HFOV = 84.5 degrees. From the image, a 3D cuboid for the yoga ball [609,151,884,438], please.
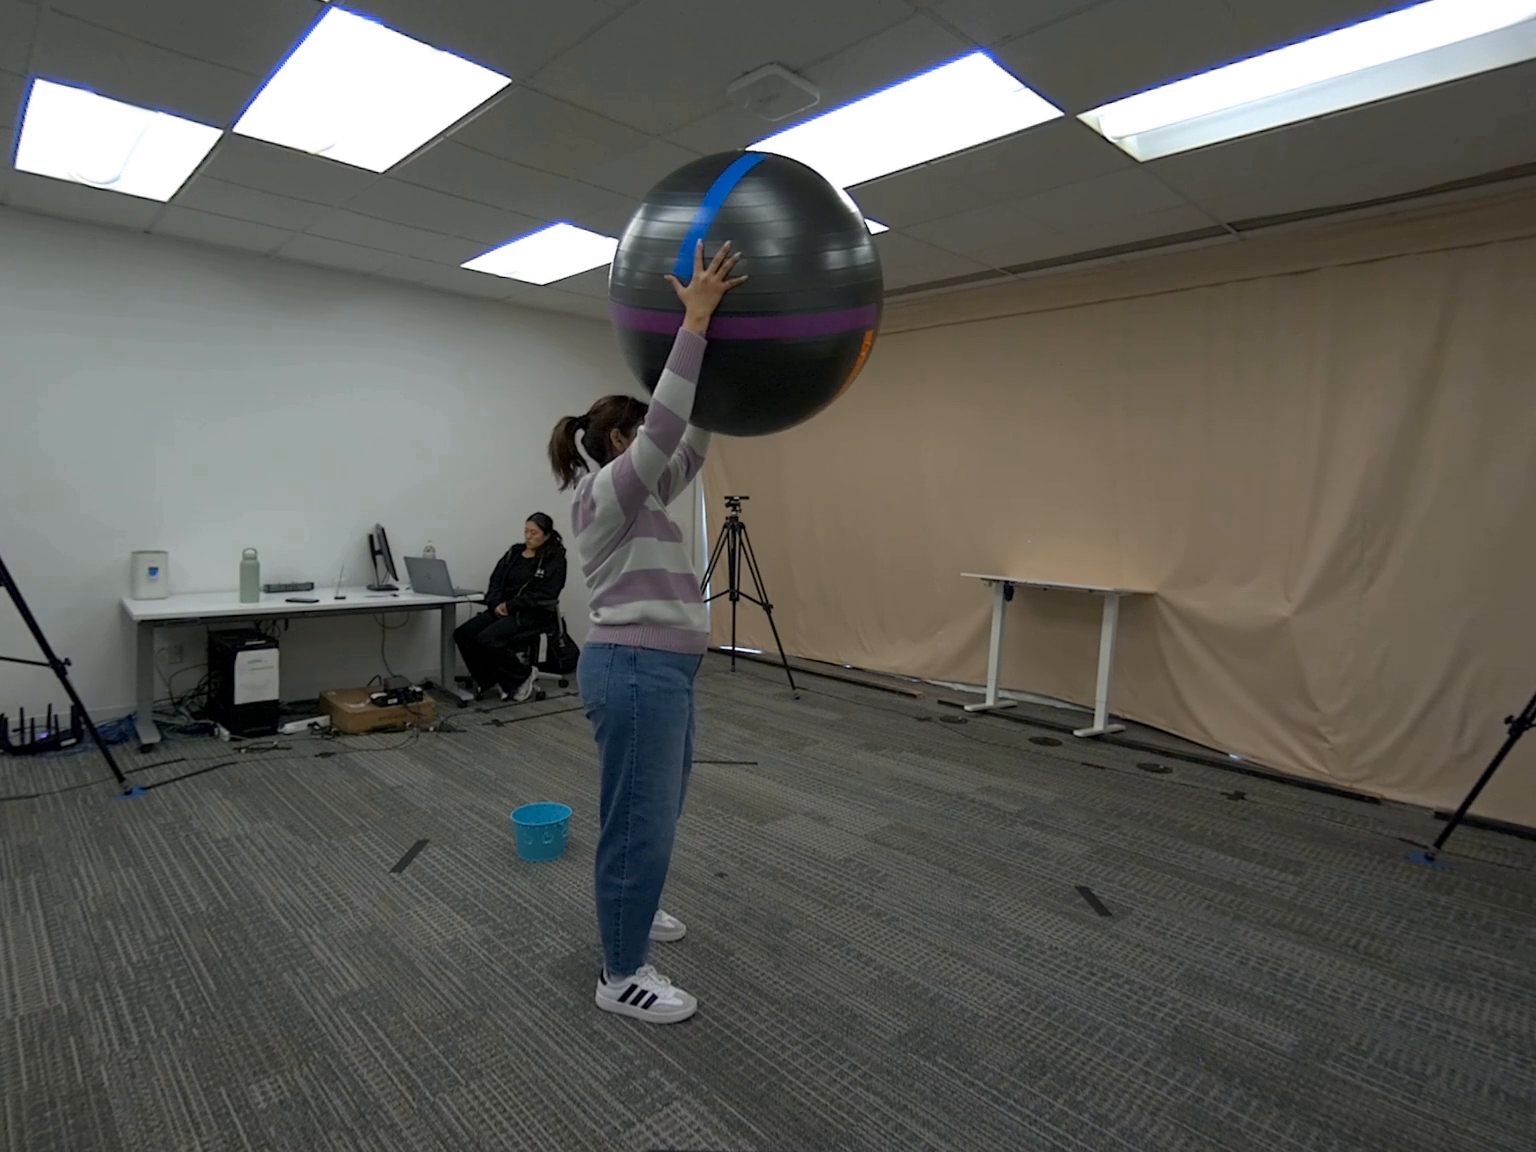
[{"bbox_3d":[-0.063,-0.766,2.348,0.757,0.756,0.761,1,4,-1],"label":"yoga ball"}]
